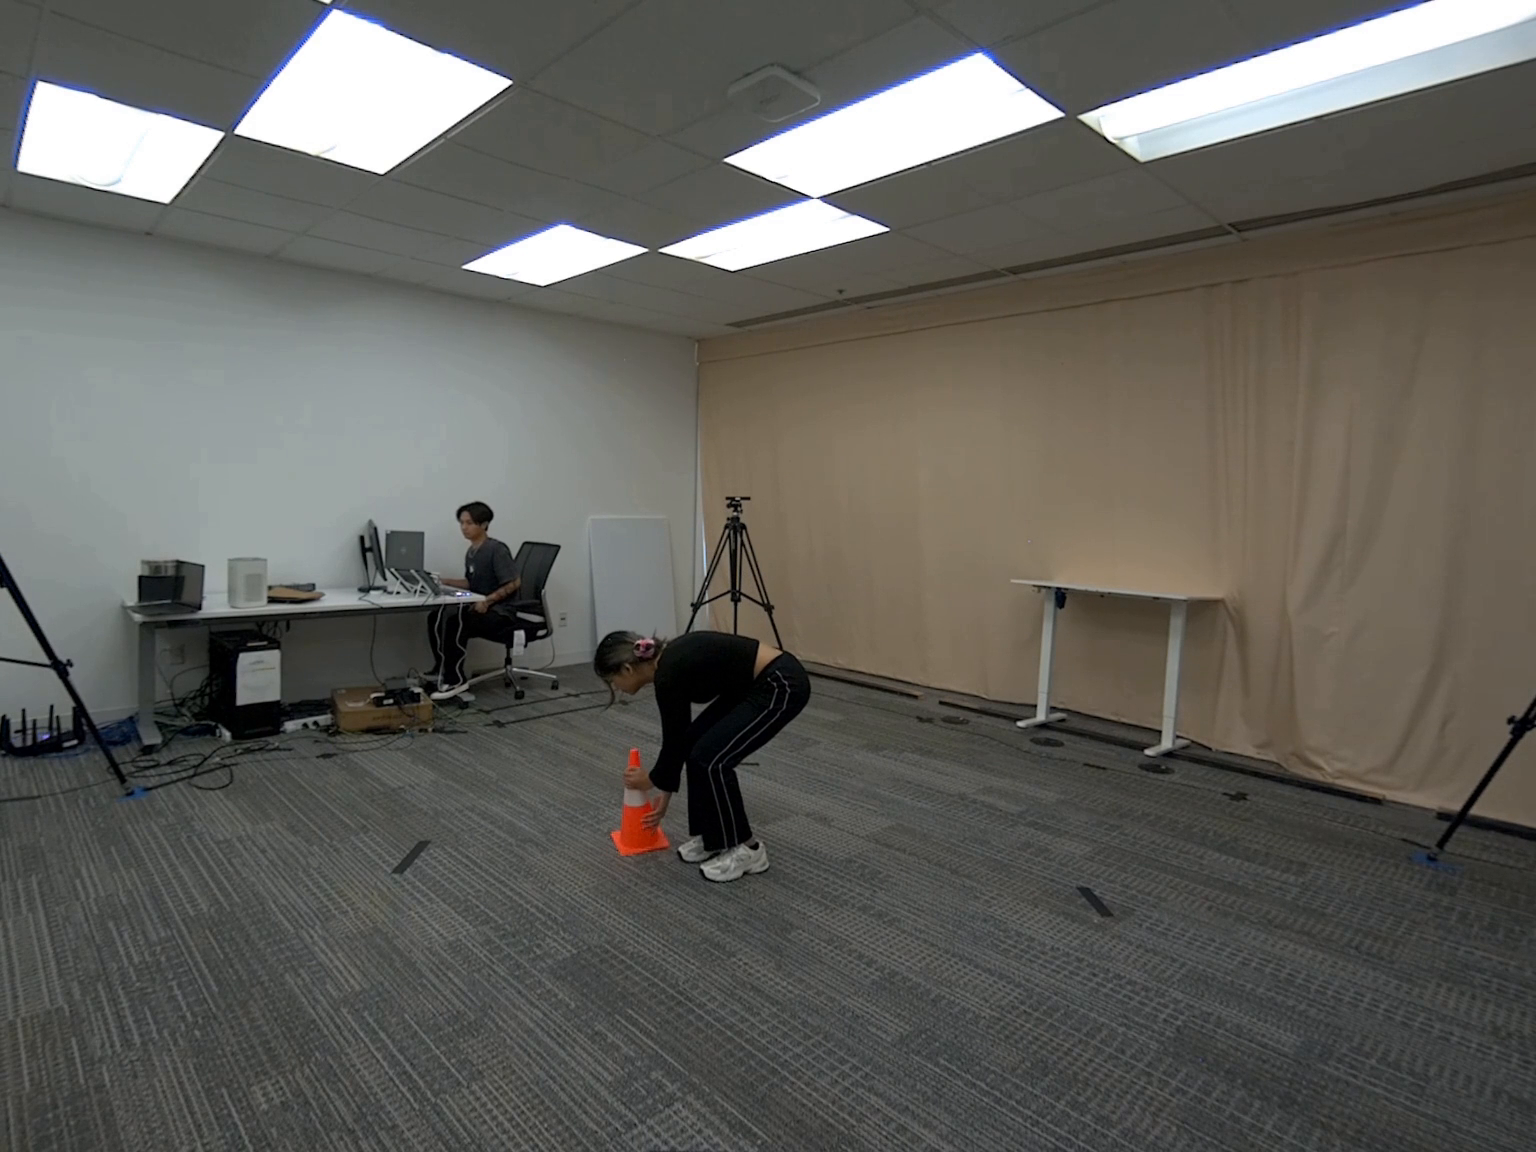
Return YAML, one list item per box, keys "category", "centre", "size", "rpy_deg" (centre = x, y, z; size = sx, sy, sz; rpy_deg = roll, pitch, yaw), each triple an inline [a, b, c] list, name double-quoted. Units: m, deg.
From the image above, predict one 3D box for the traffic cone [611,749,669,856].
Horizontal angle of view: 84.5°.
- category: "traffic cone"
  centre: [-0.526, 0.879, 3.358]
  size: [0.202, 0.381, 0.208]
  rpy_deg: [-5, 11, -20]
